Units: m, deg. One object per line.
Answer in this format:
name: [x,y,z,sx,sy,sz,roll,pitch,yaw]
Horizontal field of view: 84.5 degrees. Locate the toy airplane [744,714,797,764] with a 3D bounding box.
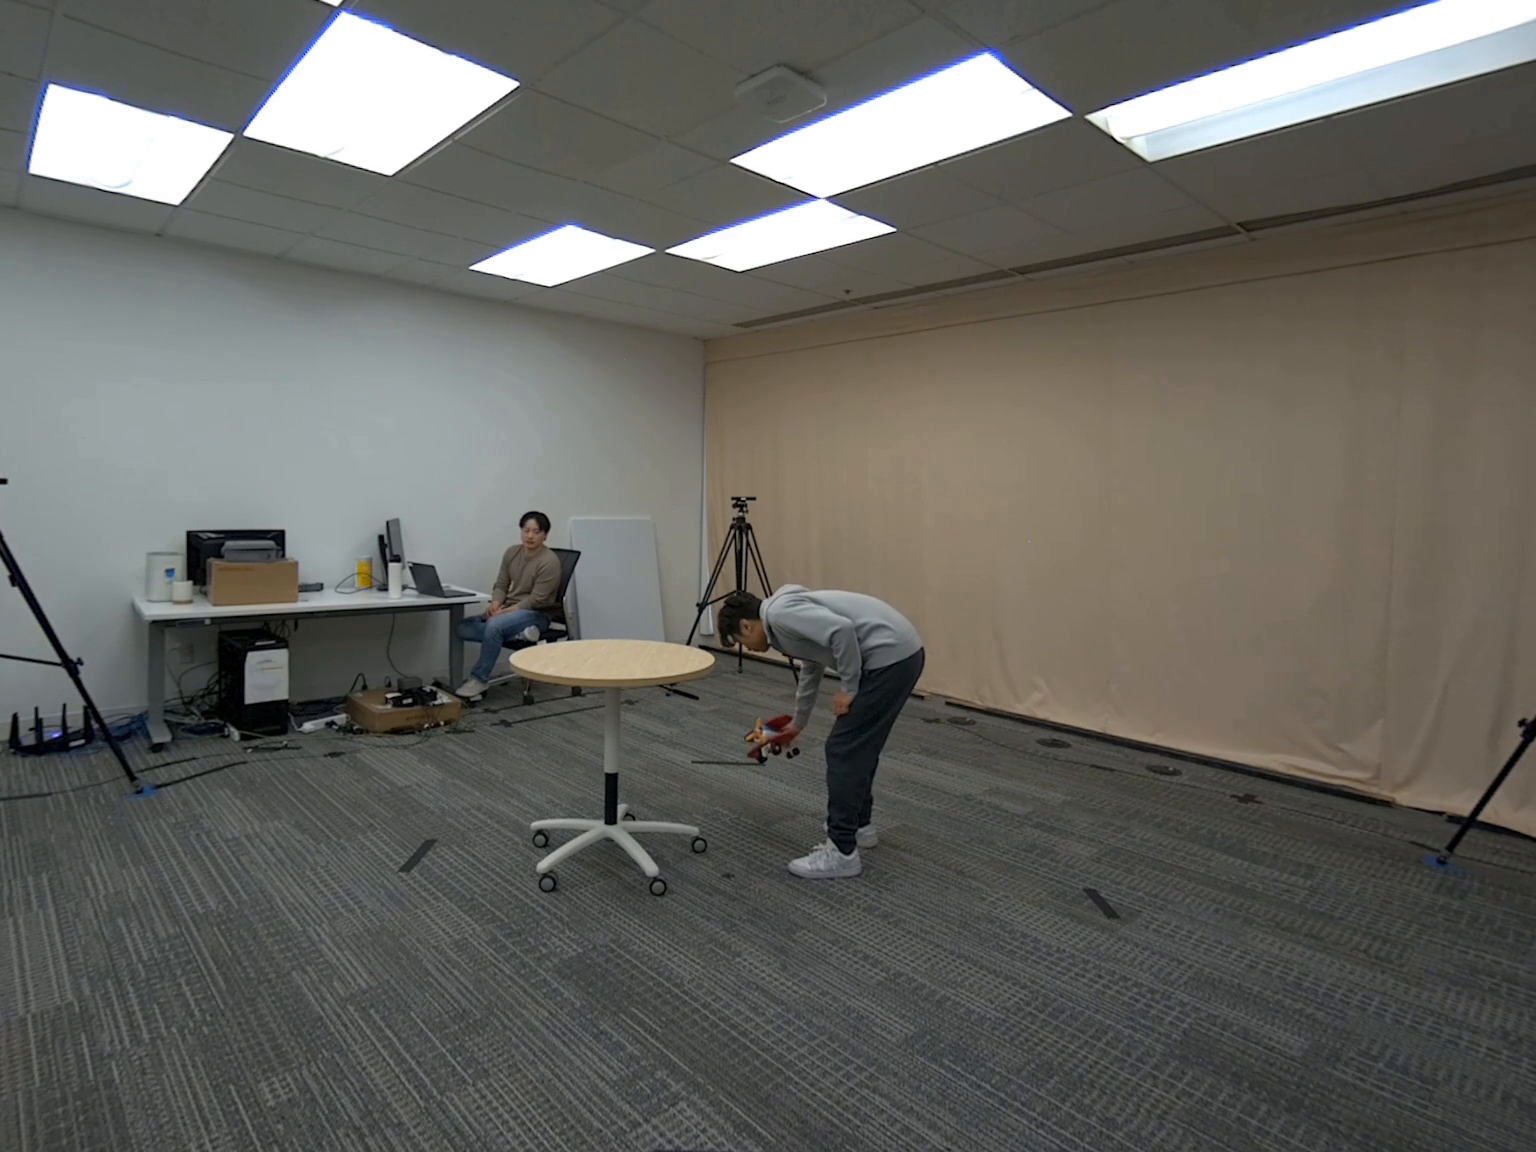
toy airplane: [0.014,0.723,3.676,0.252,0.160,0.253,-24,-24,5]
